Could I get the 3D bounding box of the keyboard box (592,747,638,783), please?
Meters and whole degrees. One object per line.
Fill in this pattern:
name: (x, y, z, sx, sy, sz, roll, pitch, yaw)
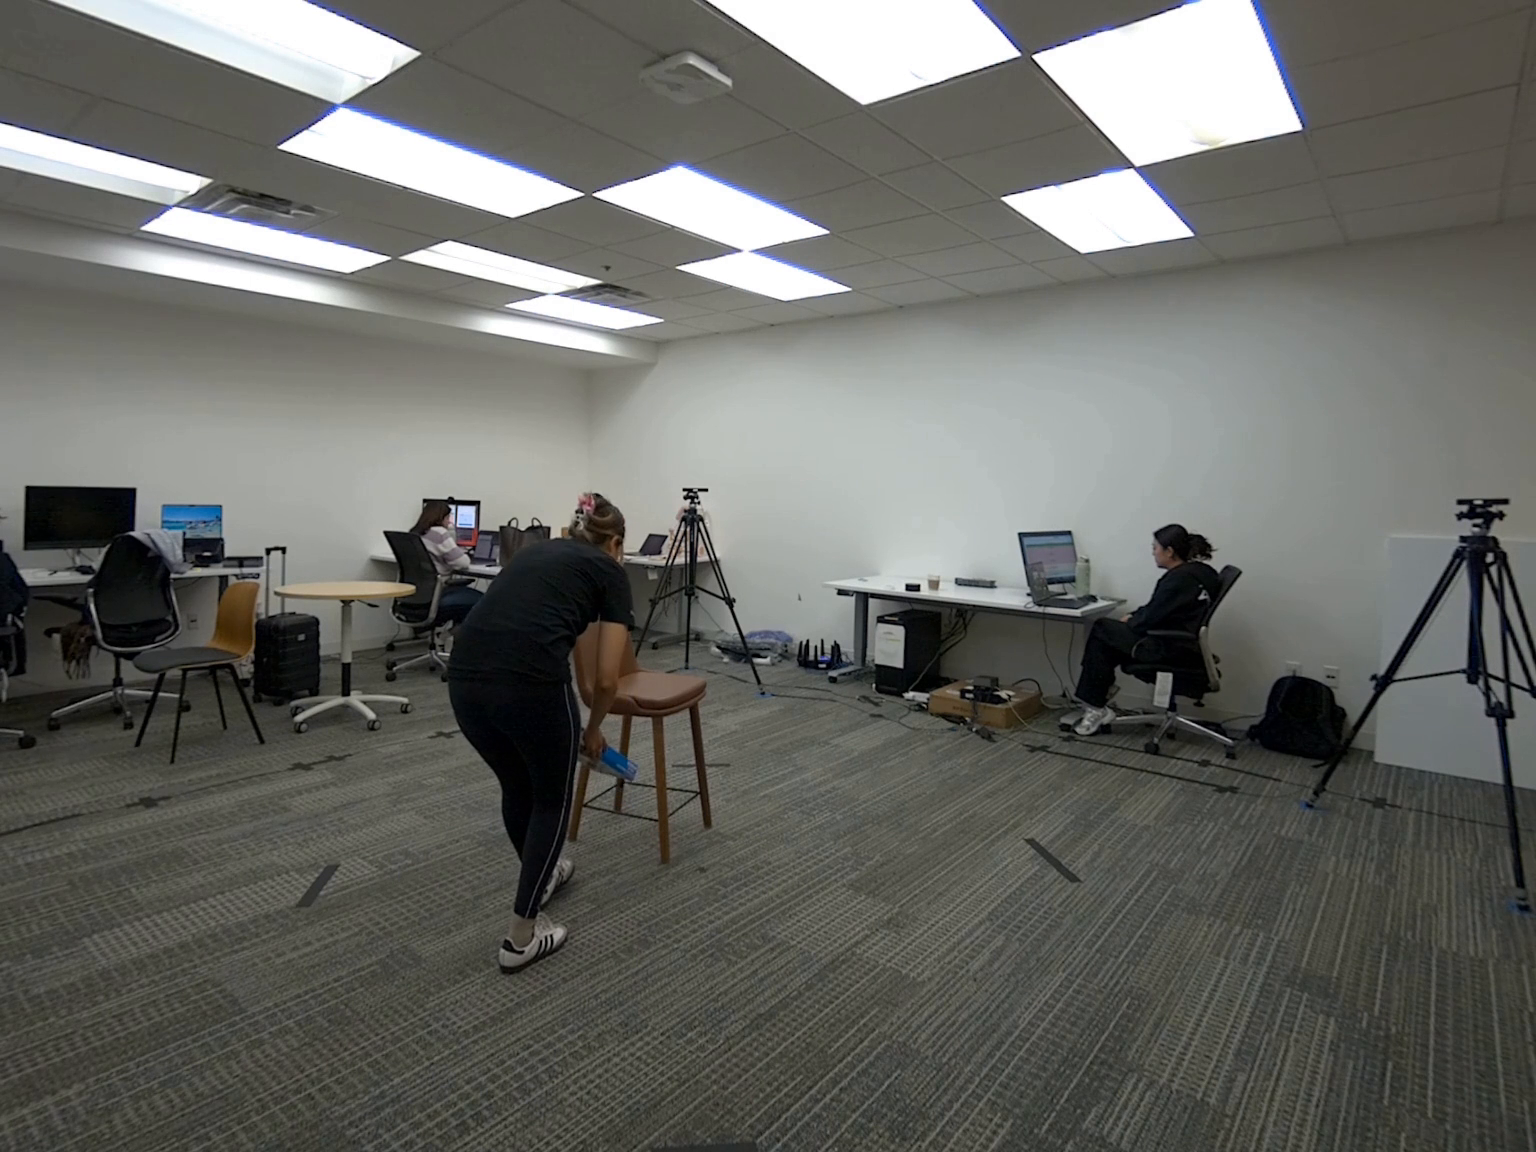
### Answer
keyboard box: (-0.622, 0.591, 2.901, 0.181, 0.060, 0.420, 9, -26, 25)
